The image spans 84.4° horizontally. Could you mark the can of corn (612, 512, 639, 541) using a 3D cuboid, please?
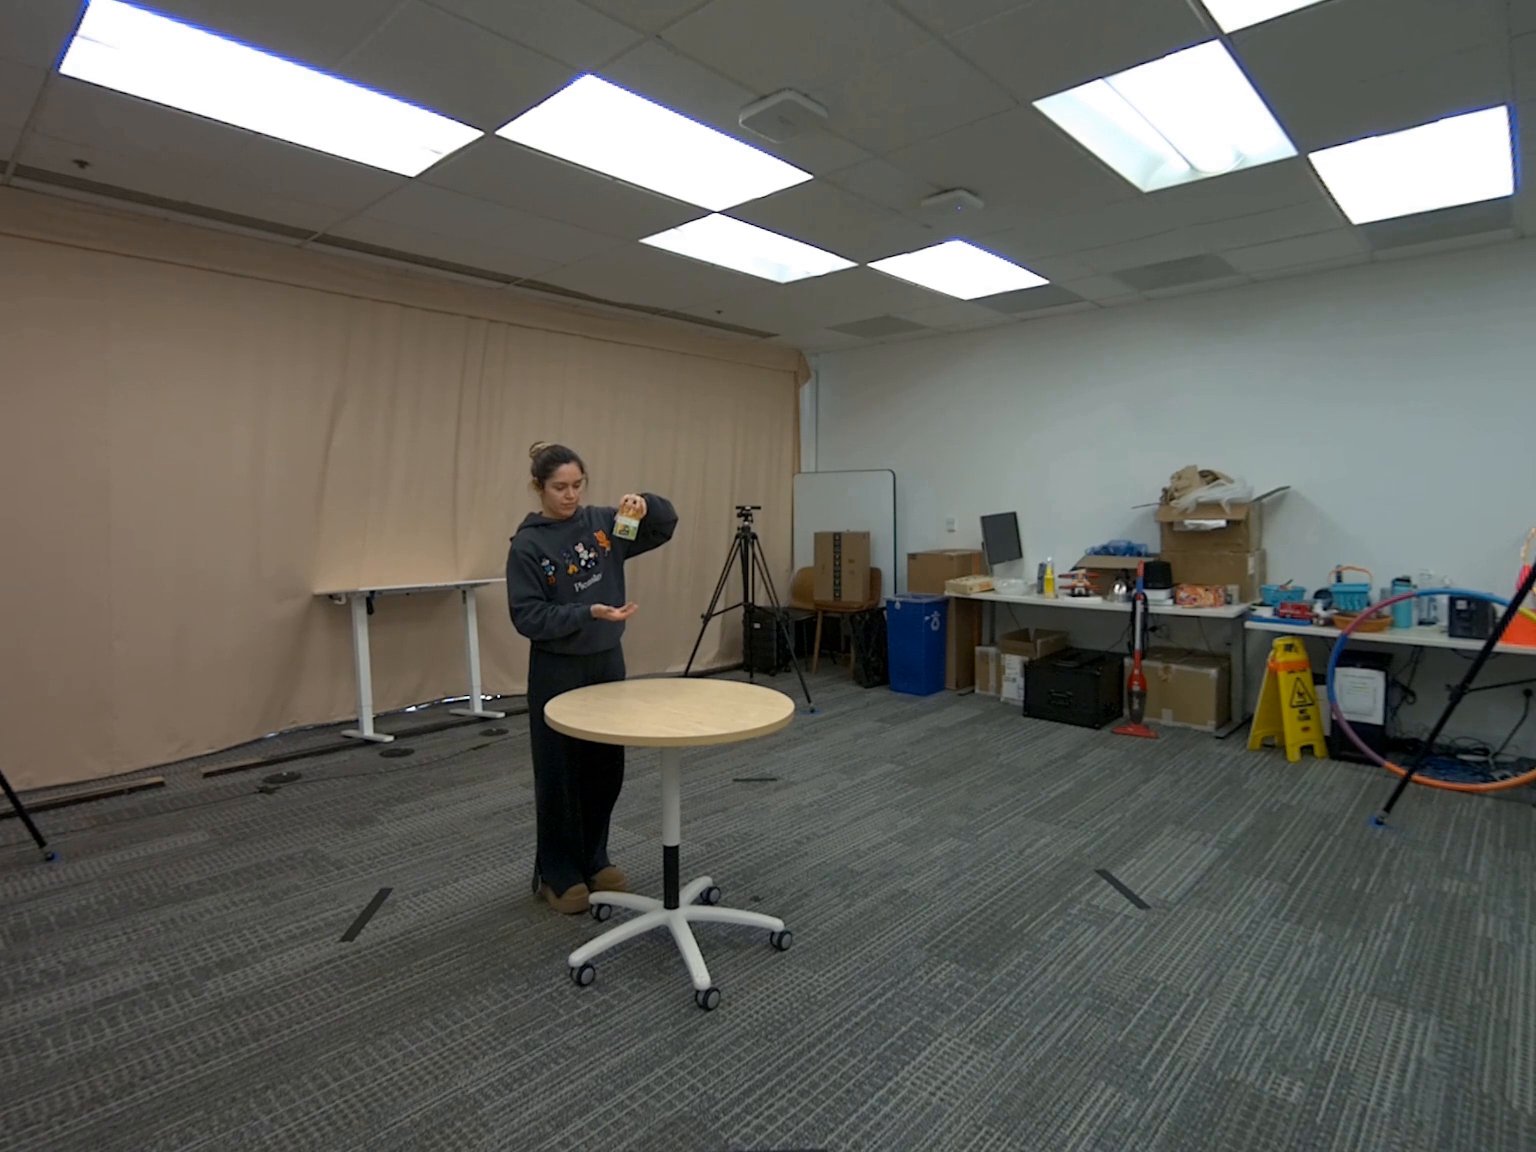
[{"bbox_3d":[-0.462,-0.175,2.766,0.074,0.111,0.074,8,1,-2],"label":"can of corn"}]
